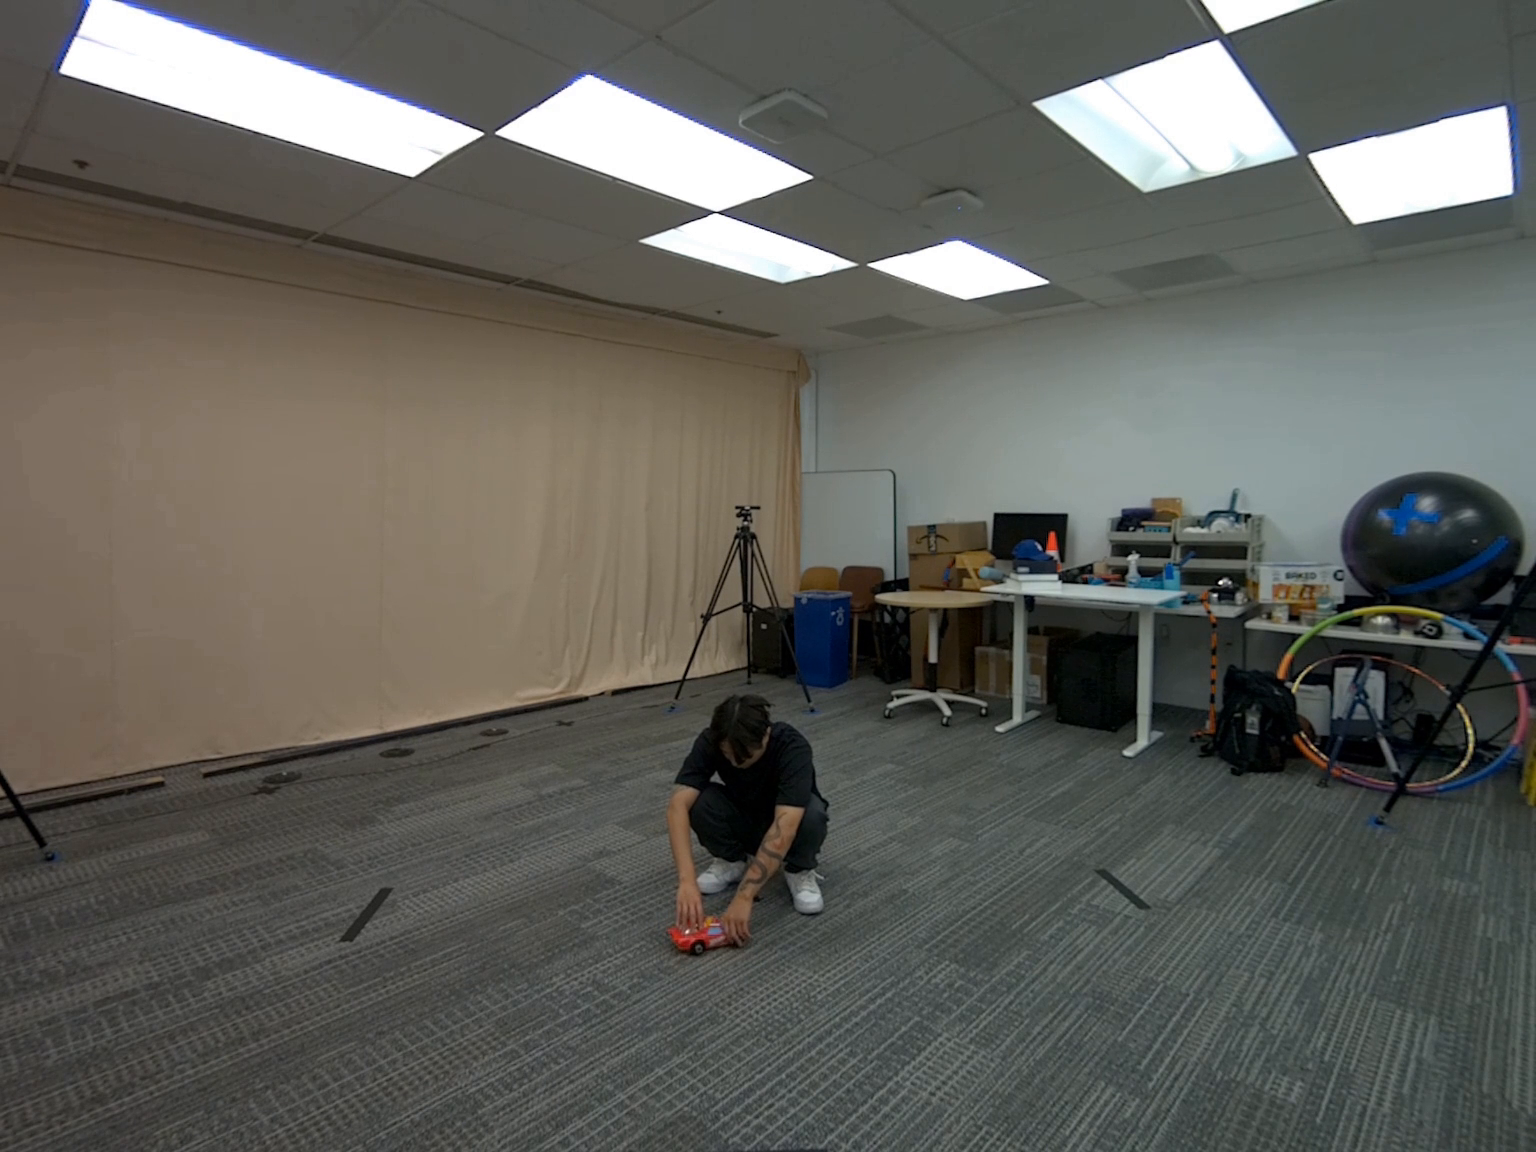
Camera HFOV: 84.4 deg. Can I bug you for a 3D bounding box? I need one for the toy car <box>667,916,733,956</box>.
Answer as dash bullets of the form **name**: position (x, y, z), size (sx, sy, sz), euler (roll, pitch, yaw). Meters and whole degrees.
- **toy car**: position (-0.198, 1.131, 2.683), size (0.248, 0.083, 0.133), euler (11, 0, -23)
